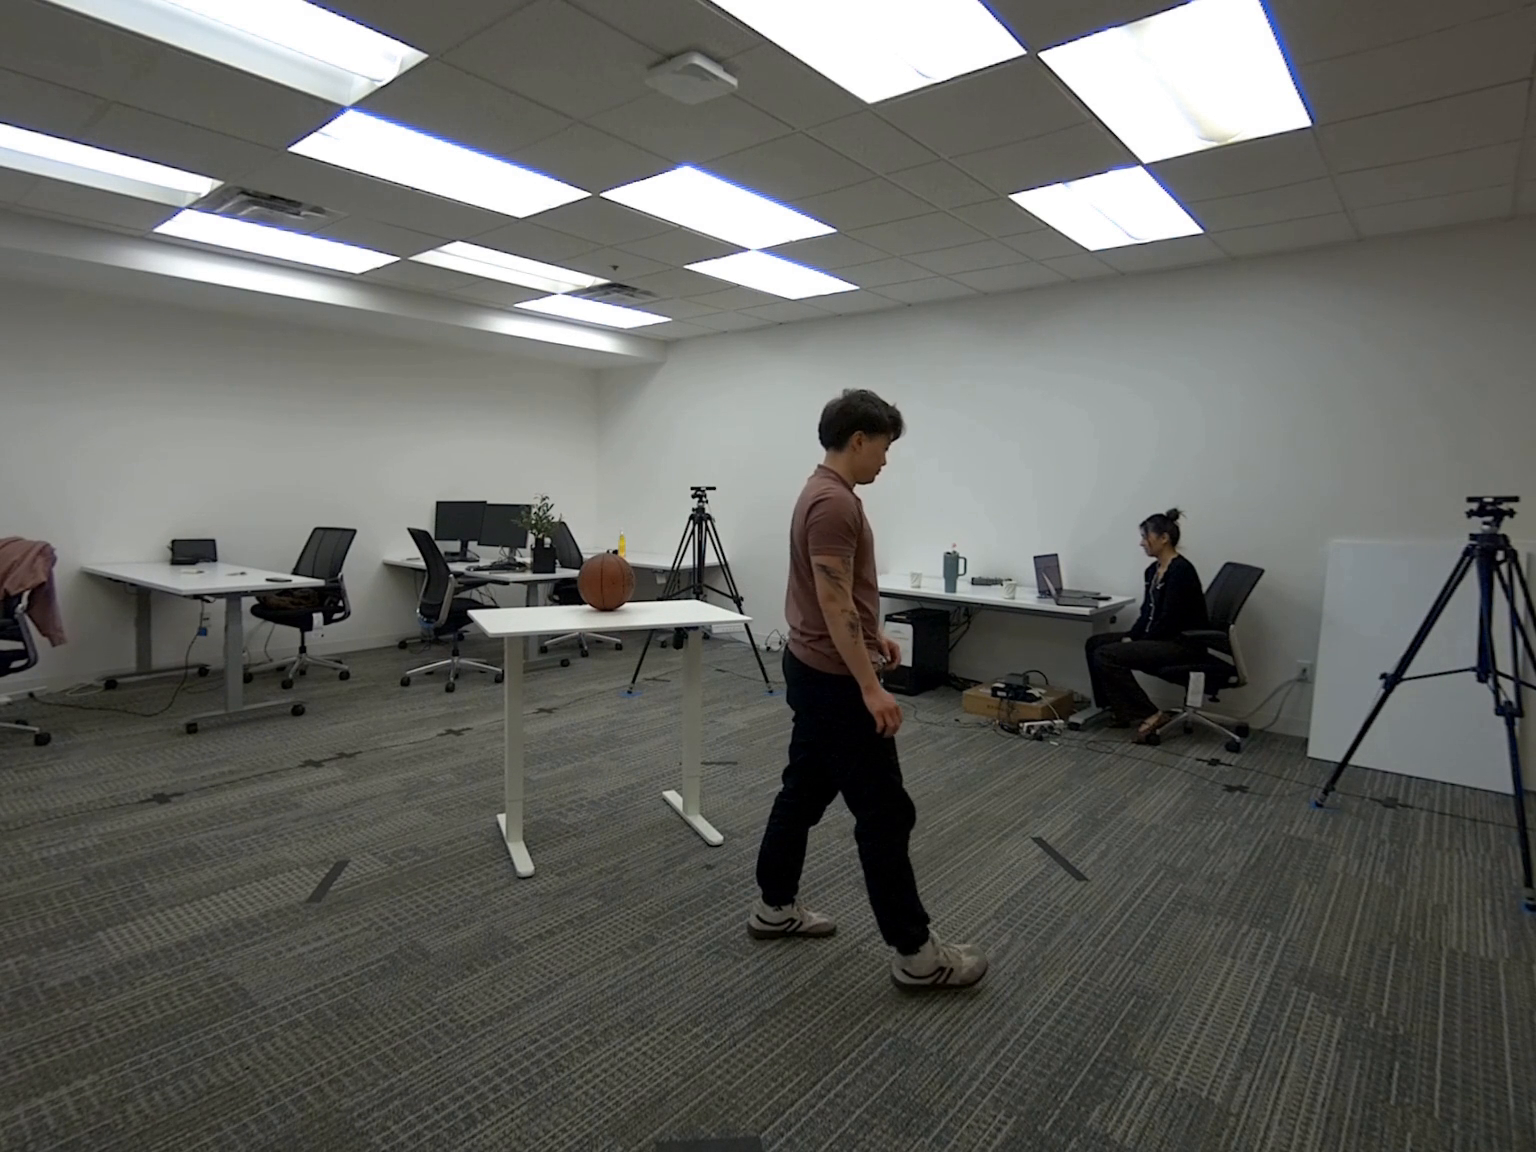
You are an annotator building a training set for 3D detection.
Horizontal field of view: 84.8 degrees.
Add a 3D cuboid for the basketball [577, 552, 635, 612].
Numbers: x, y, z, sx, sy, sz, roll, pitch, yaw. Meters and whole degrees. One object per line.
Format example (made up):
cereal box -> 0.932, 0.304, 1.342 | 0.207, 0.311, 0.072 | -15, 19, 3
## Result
basketball -> -0.676, 0.020, 3.498 | 0.235, 0.235, 0.237 | 1, 4, -2
